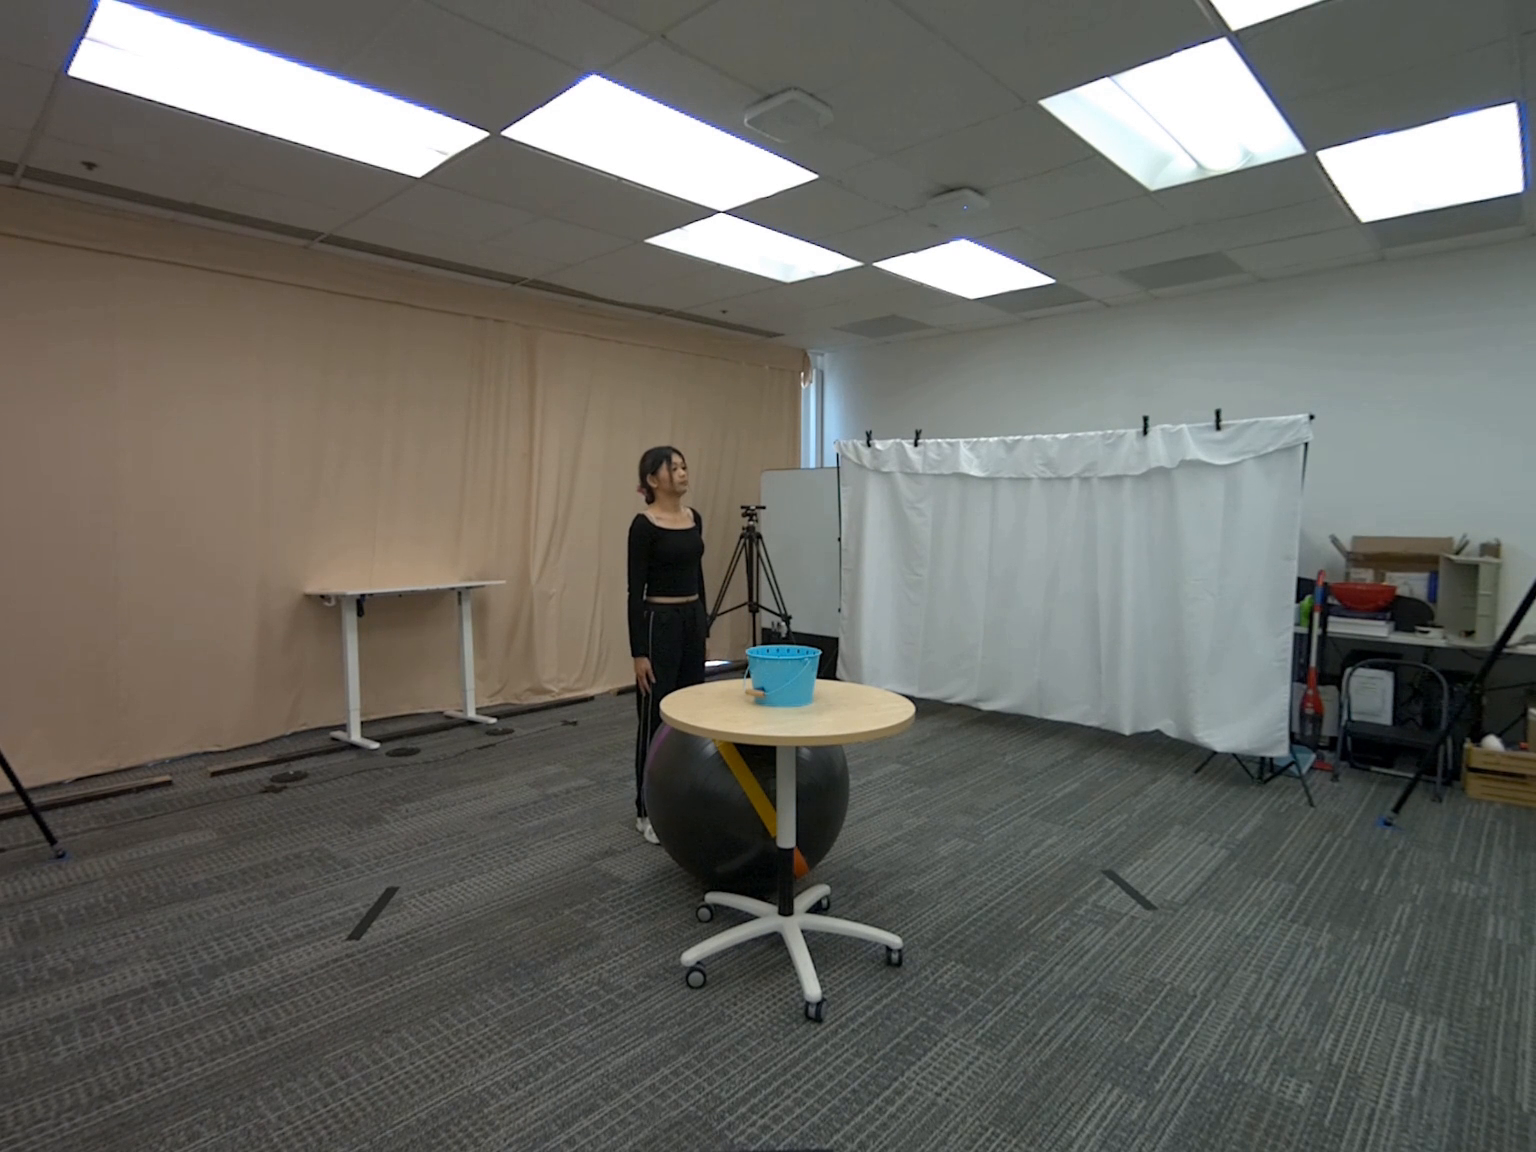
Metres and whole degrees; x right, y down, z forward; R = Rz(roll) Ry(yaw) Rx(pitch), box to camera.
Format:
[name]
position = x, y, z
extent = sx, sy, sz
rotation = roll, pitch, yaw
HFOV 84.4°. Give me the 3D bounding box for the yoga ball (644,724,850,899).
[yoga ball]
position = -0.079, 0.771, 3.117
extent = 0.757, 0.756, 0.760
rotation = 0, 4, -2
